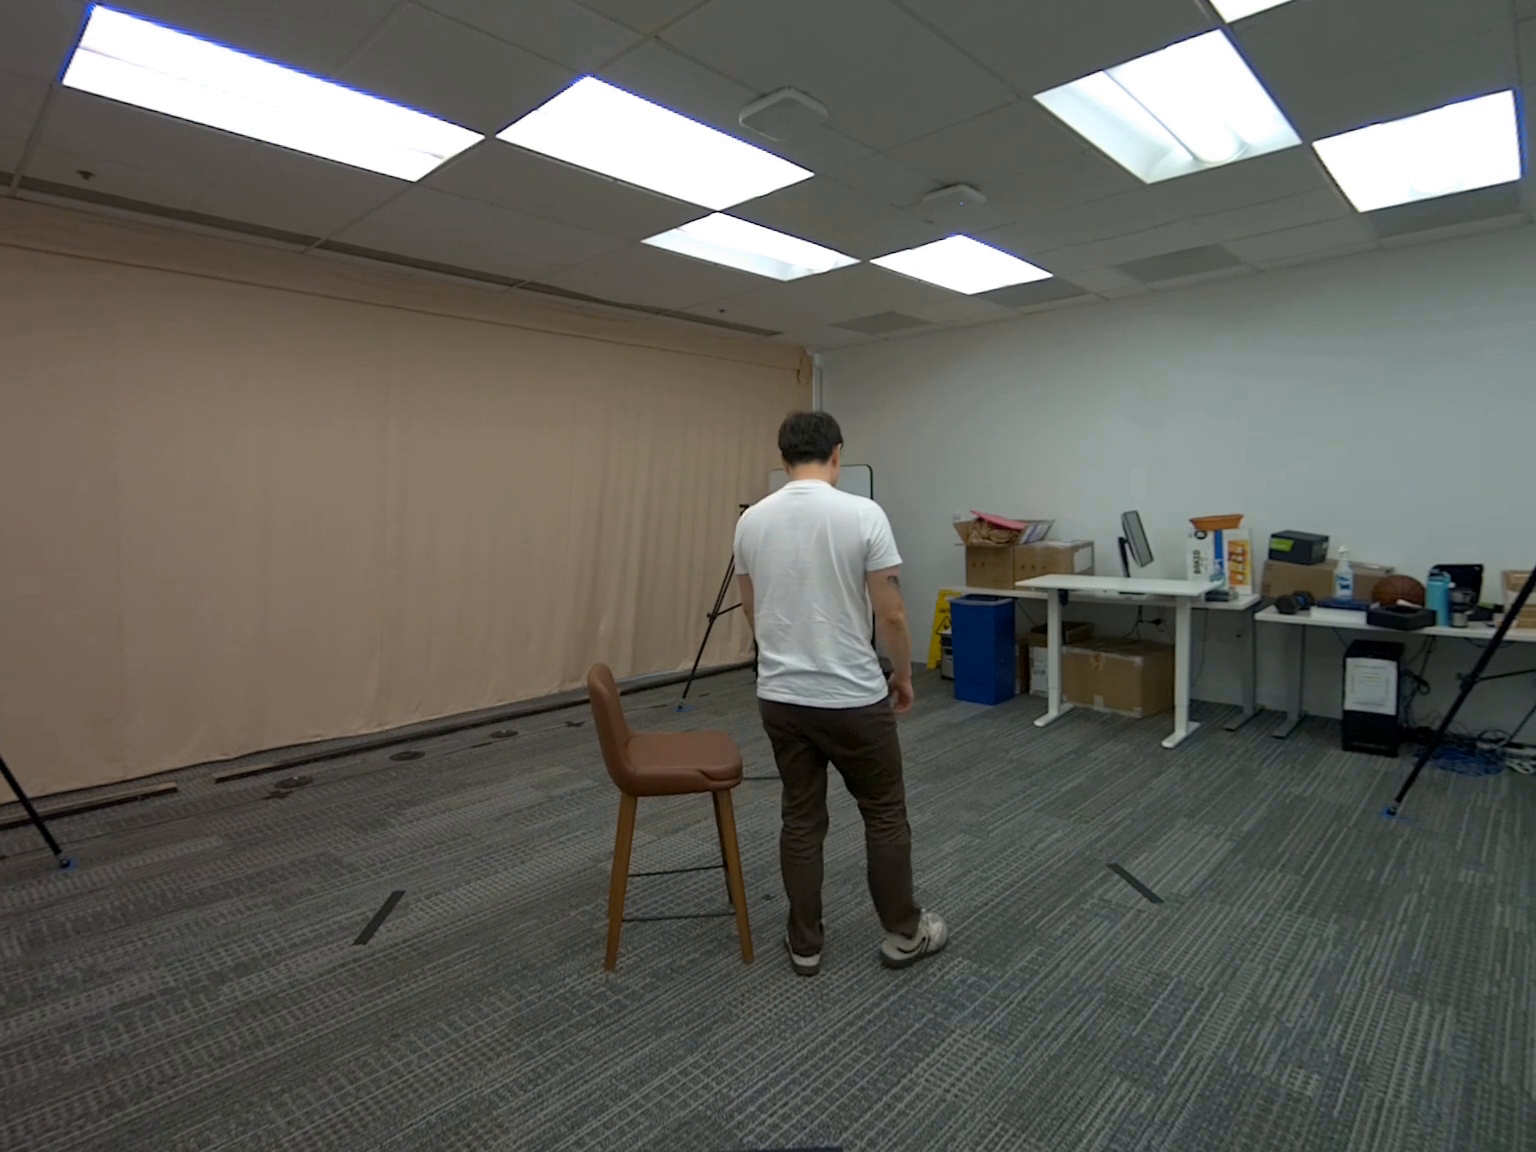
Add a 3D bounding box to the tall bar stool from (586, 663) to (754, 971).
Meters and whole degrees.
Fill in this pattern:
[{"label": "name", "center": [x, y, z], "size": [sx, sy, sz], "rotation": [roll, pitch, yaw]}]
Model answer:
[{"label": "tall bar stool", "center": [-0.311, 0.735, 2.717], "size": [0.464, 0.888, 0.461], "rotation": [-4, 3, -8]}]
